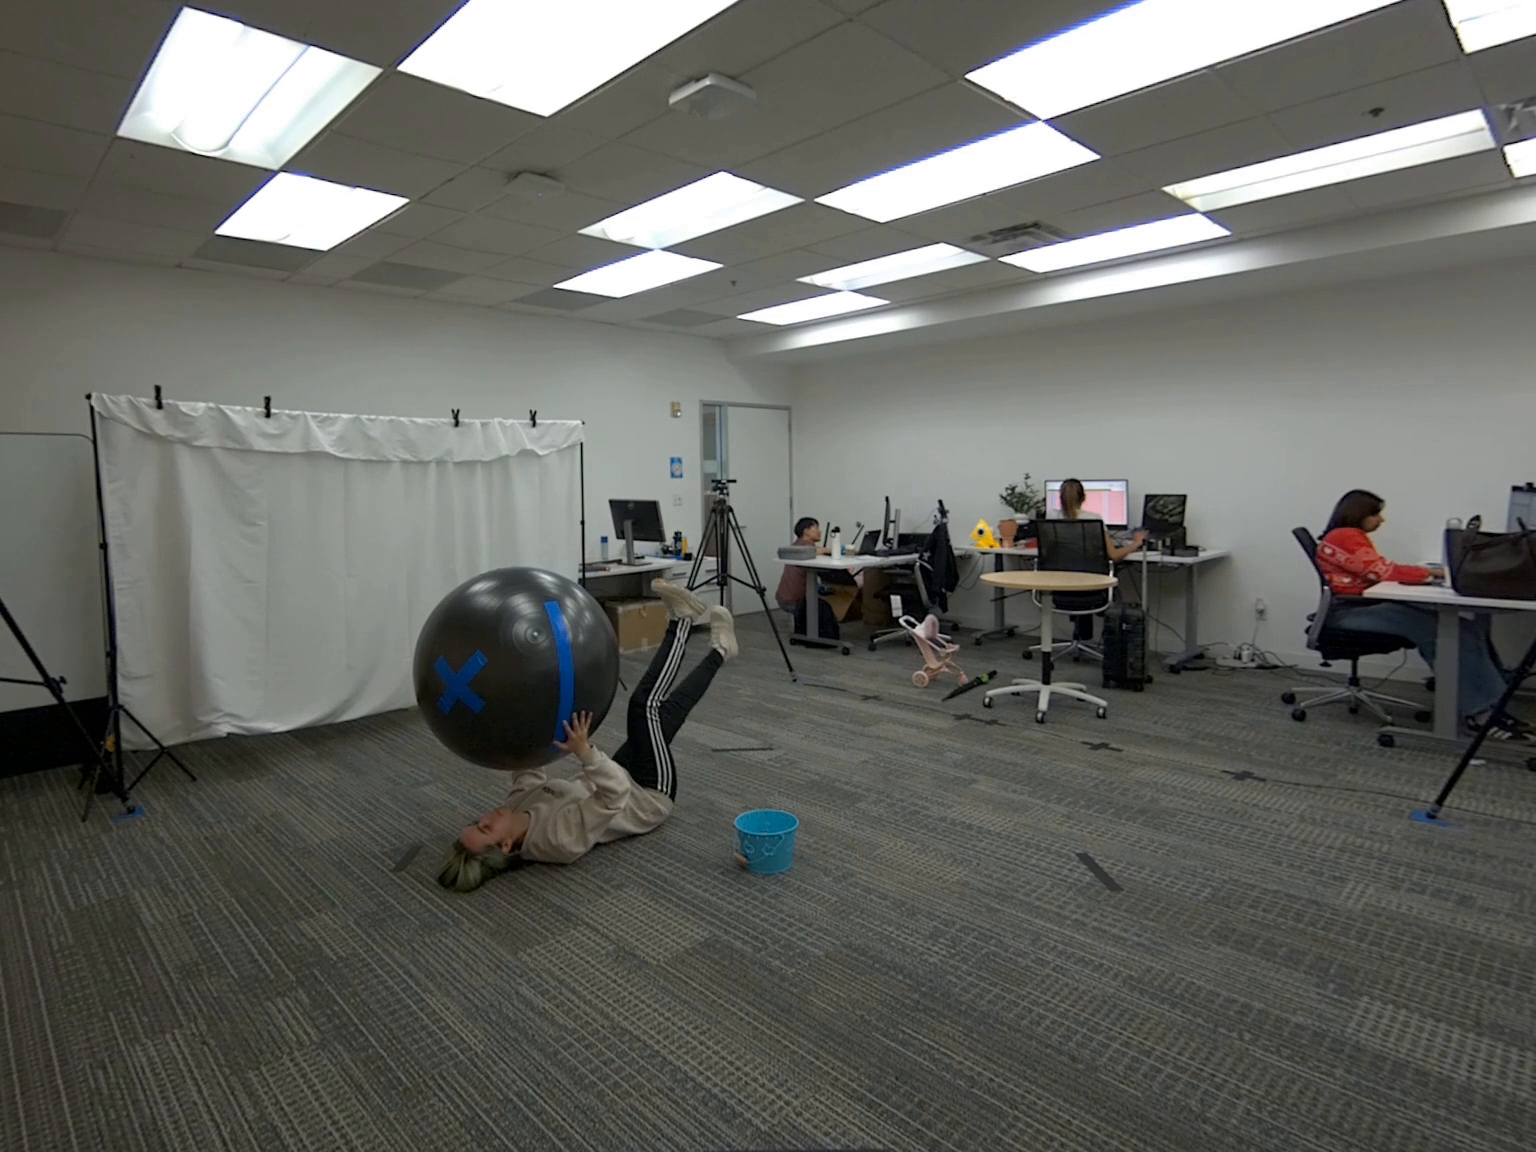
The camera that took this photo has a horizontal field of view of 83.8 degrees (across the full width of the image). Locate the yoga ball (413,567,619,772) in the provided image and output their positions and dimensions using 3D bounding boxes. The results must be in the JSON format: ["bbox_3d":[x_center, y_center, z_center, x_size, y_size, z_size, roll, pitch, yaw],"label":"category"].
[{"bbox_3d":[-0.946,0.349,3.224,0.757,0.755,0.762,-1,5,-2],"label":"yoga ball"}]
